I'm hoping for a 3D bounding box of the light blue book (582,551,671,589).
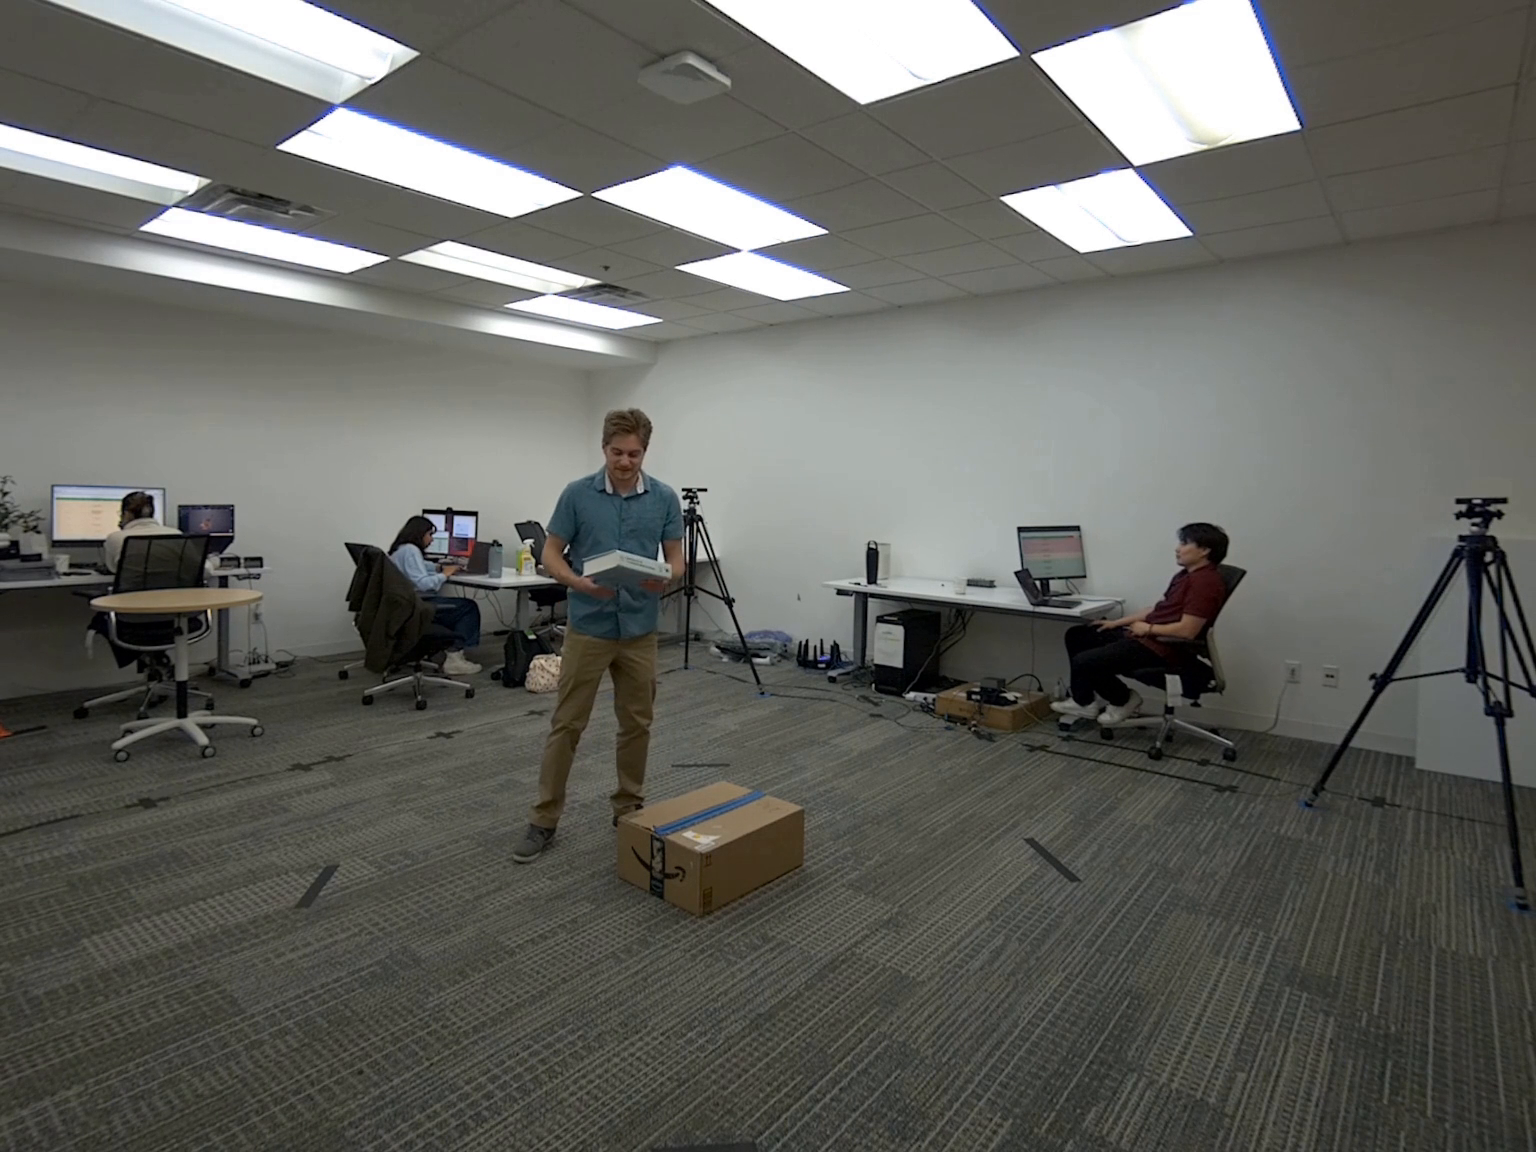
[{"bbox_3d":[-0.522,-0.025,3.030,0.196,0.060,0.251,-13,-19,36],"label":"light blue book"}]
